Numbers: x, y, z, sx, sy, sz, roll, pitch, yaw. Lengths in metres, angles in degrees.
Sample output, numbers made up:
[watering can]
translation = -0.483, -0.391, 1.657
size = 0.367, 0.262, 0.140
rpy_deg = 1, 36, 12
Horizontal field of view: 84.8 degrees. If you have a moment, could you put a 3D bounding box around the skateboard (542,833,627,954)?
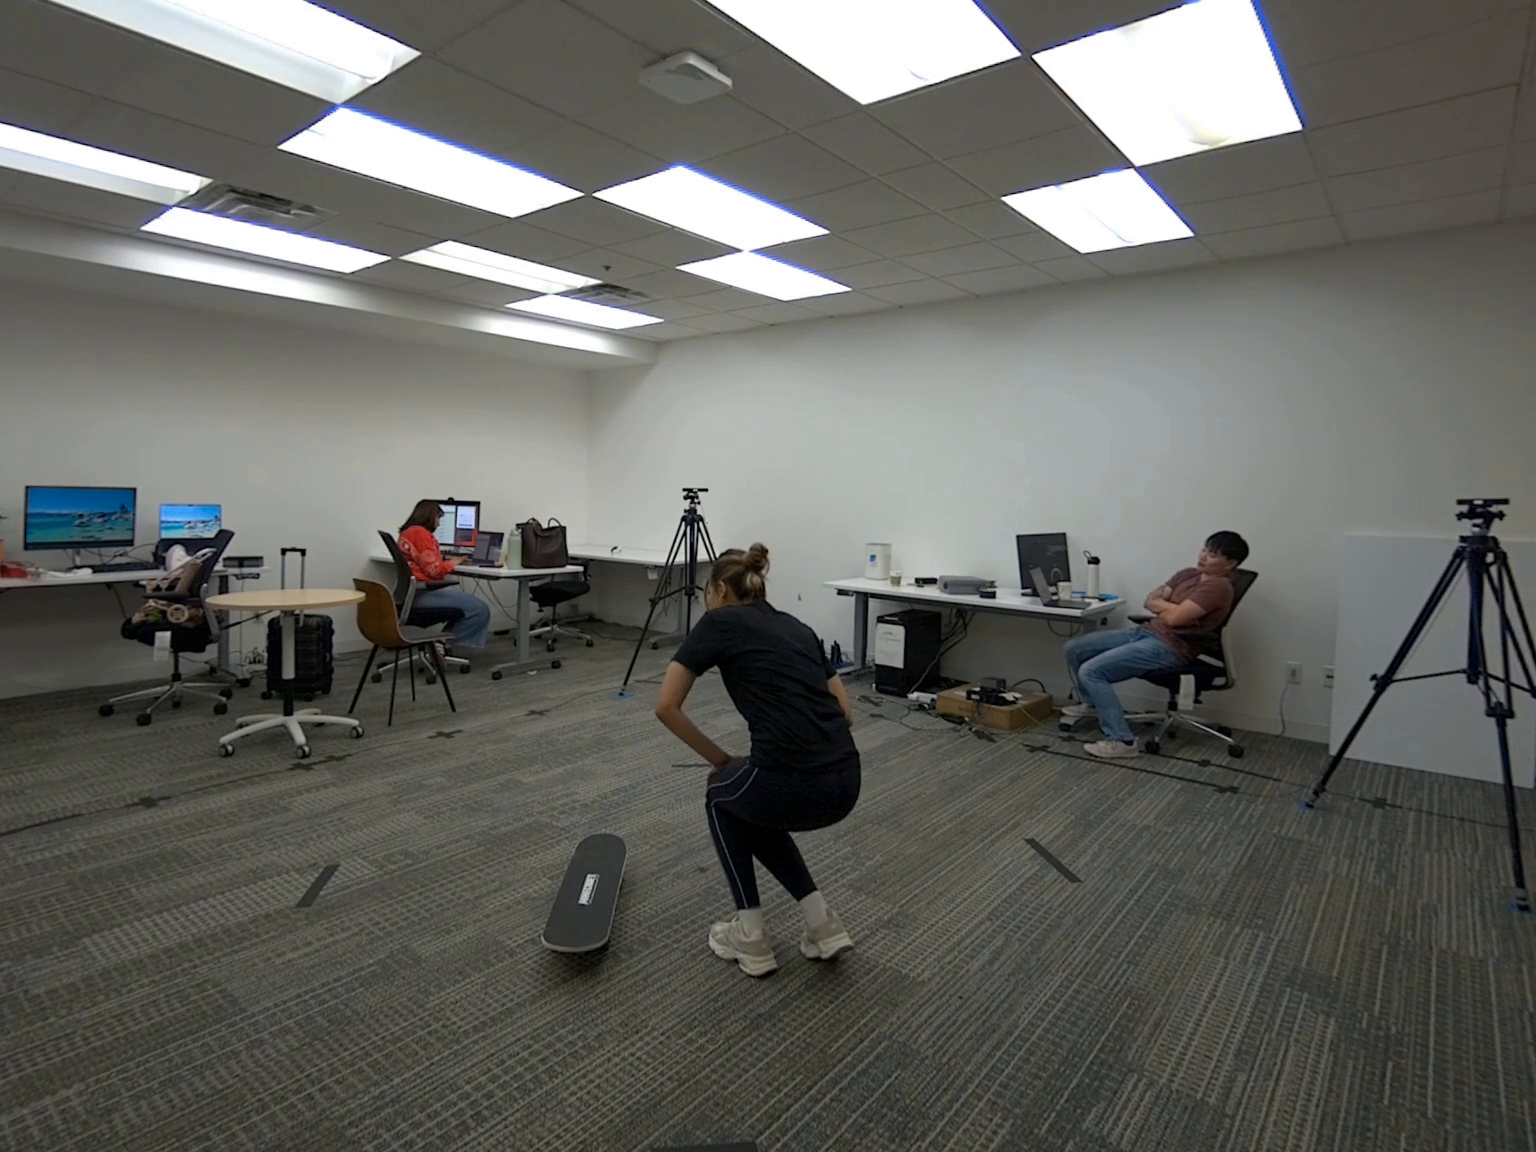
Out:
[skateboard]
translation = -0.590, 1.039, 2.759
size = 0.193, 0.110, 0.790
rpy_deg = 2, 6, -4
